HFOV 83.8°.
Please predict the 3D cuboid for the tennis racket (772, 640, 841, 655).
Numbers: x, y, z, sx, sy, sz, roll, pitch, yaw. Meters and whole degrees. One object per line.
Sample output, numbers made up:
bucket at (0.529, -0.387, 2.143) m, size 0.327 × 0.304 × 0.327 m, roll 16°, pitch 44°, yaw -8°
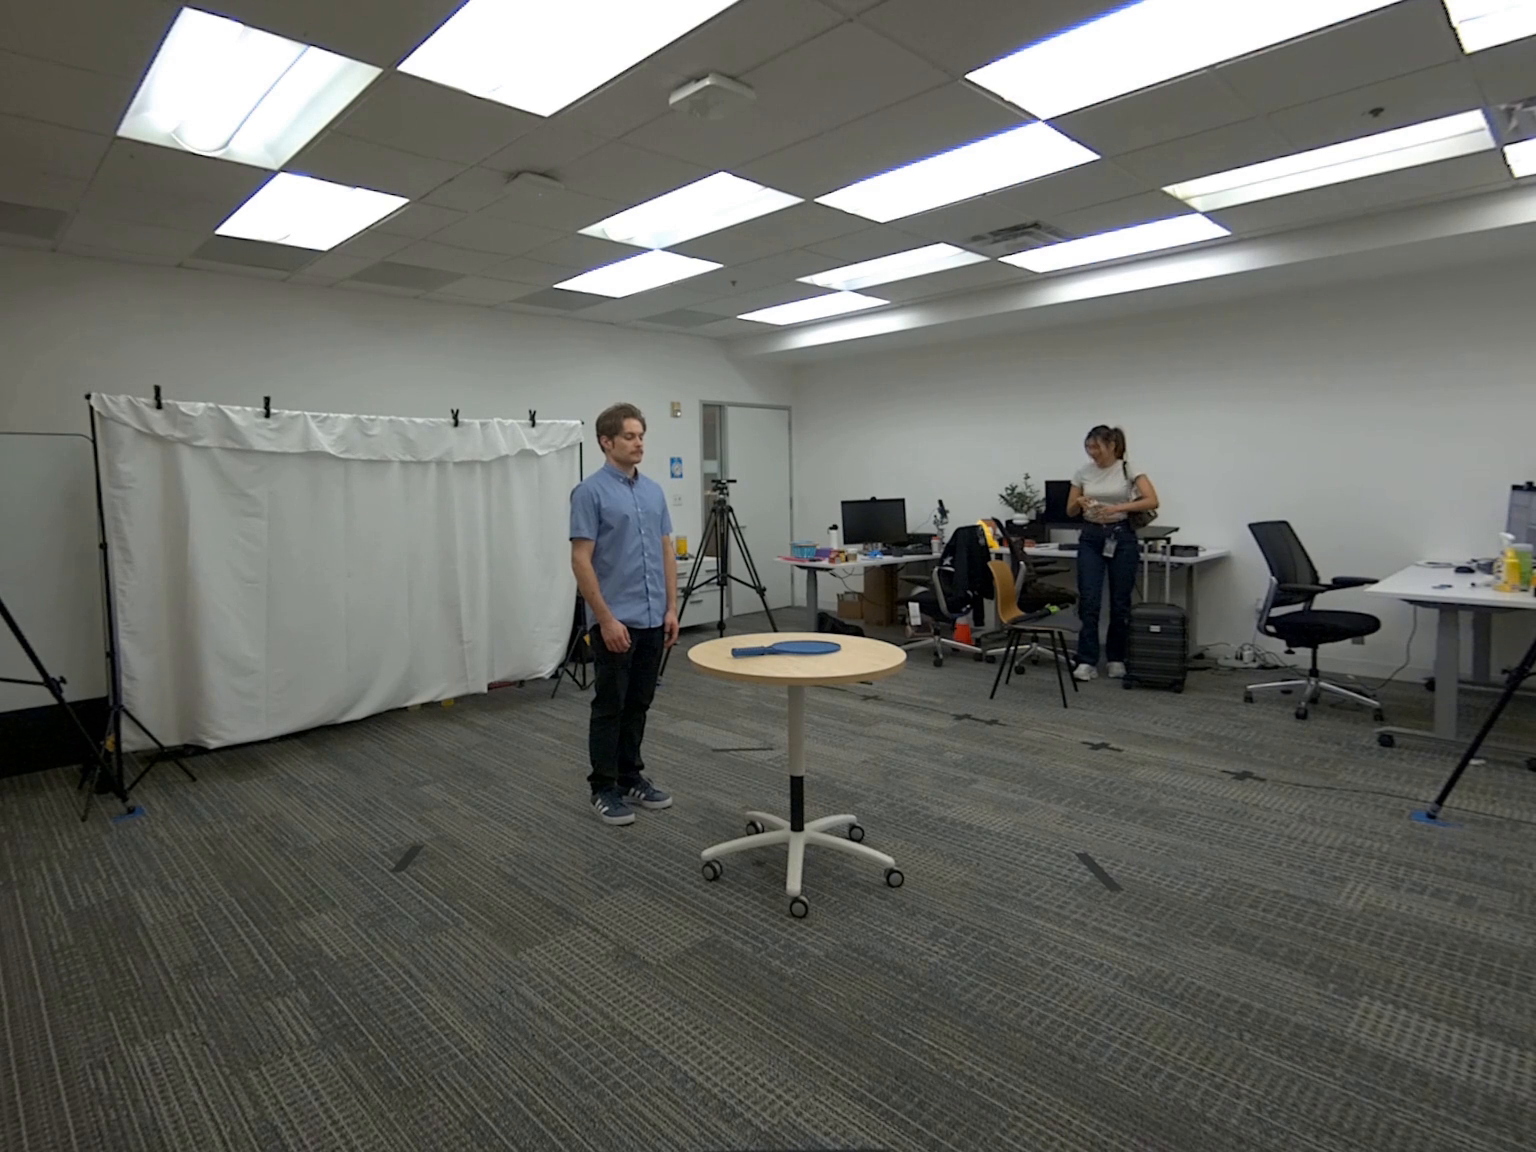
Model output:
tennis racket at (0.071, 0.261, 3.035) m, size 0.422 × 0.031 × 0.220 m, roll -3°, pitch 7°, yaw -30°
